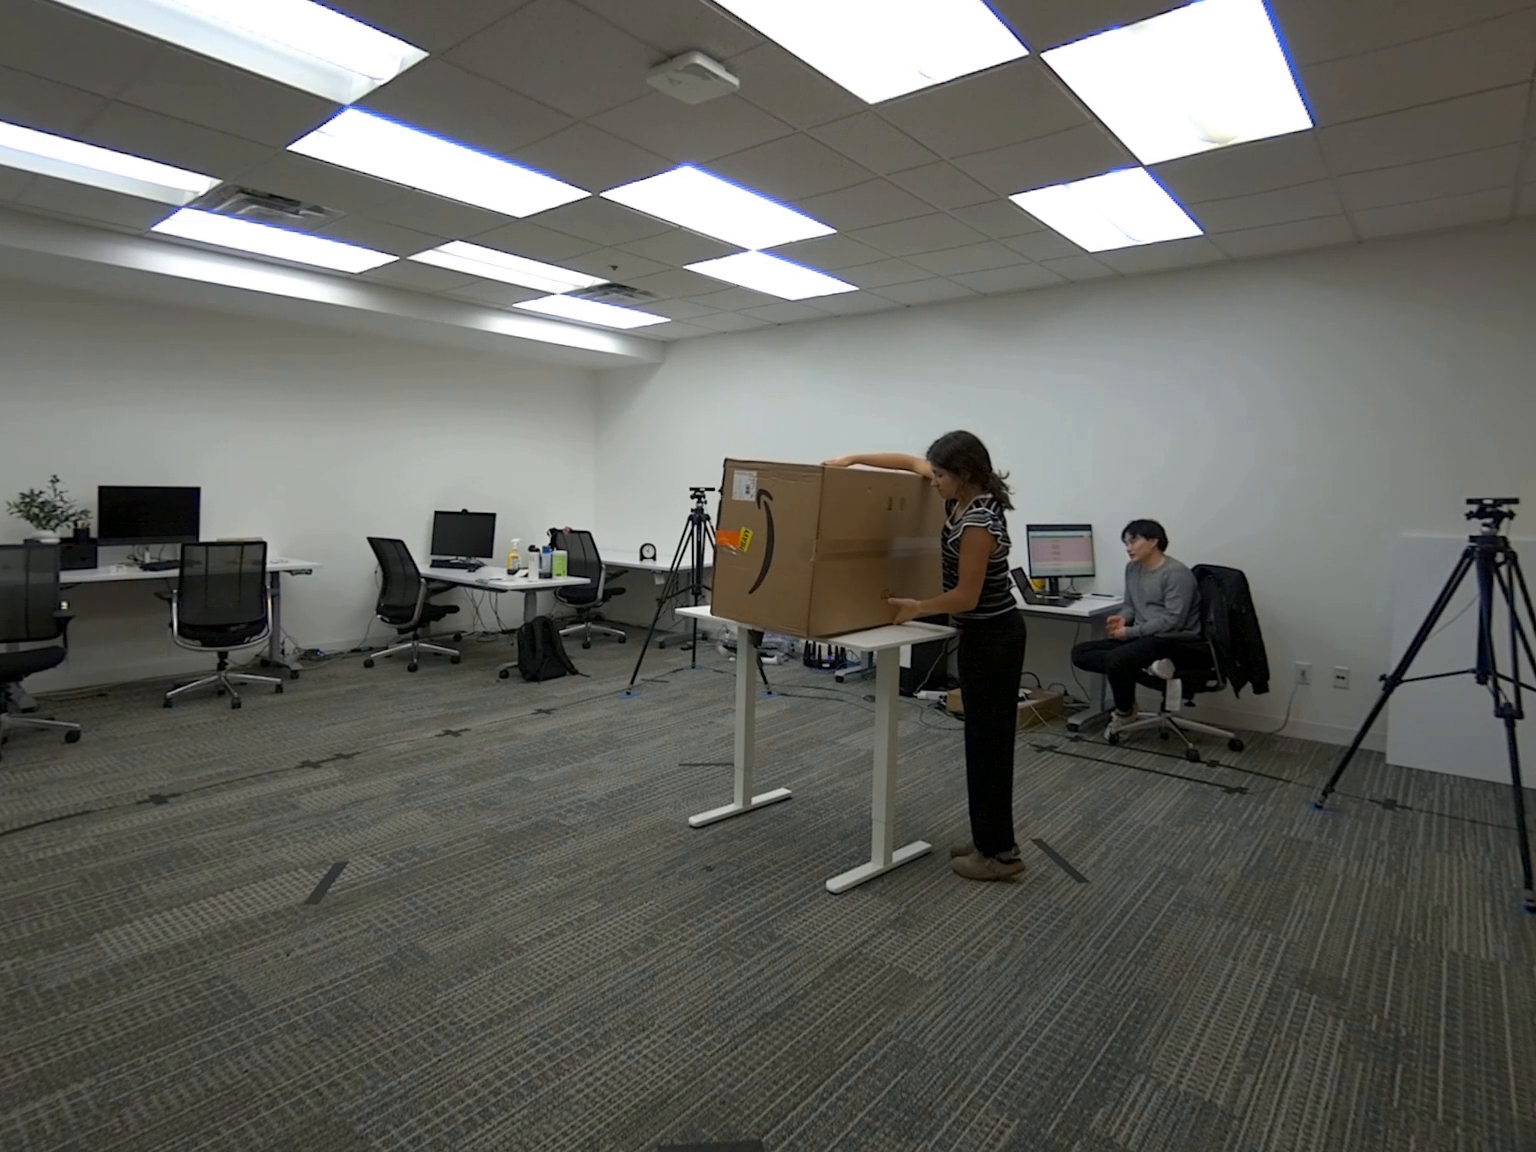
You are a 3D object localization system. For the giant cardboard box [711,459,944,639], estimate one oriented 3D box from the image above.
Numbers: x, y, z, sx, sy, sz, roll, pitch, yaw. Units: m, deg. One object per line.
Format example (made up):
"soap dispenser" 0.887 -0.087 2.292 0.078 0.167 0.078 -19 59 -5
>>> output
"giant cardboard box" 0.270 -0.136 3.303 0.441 0.575 0.995 9 8 37
